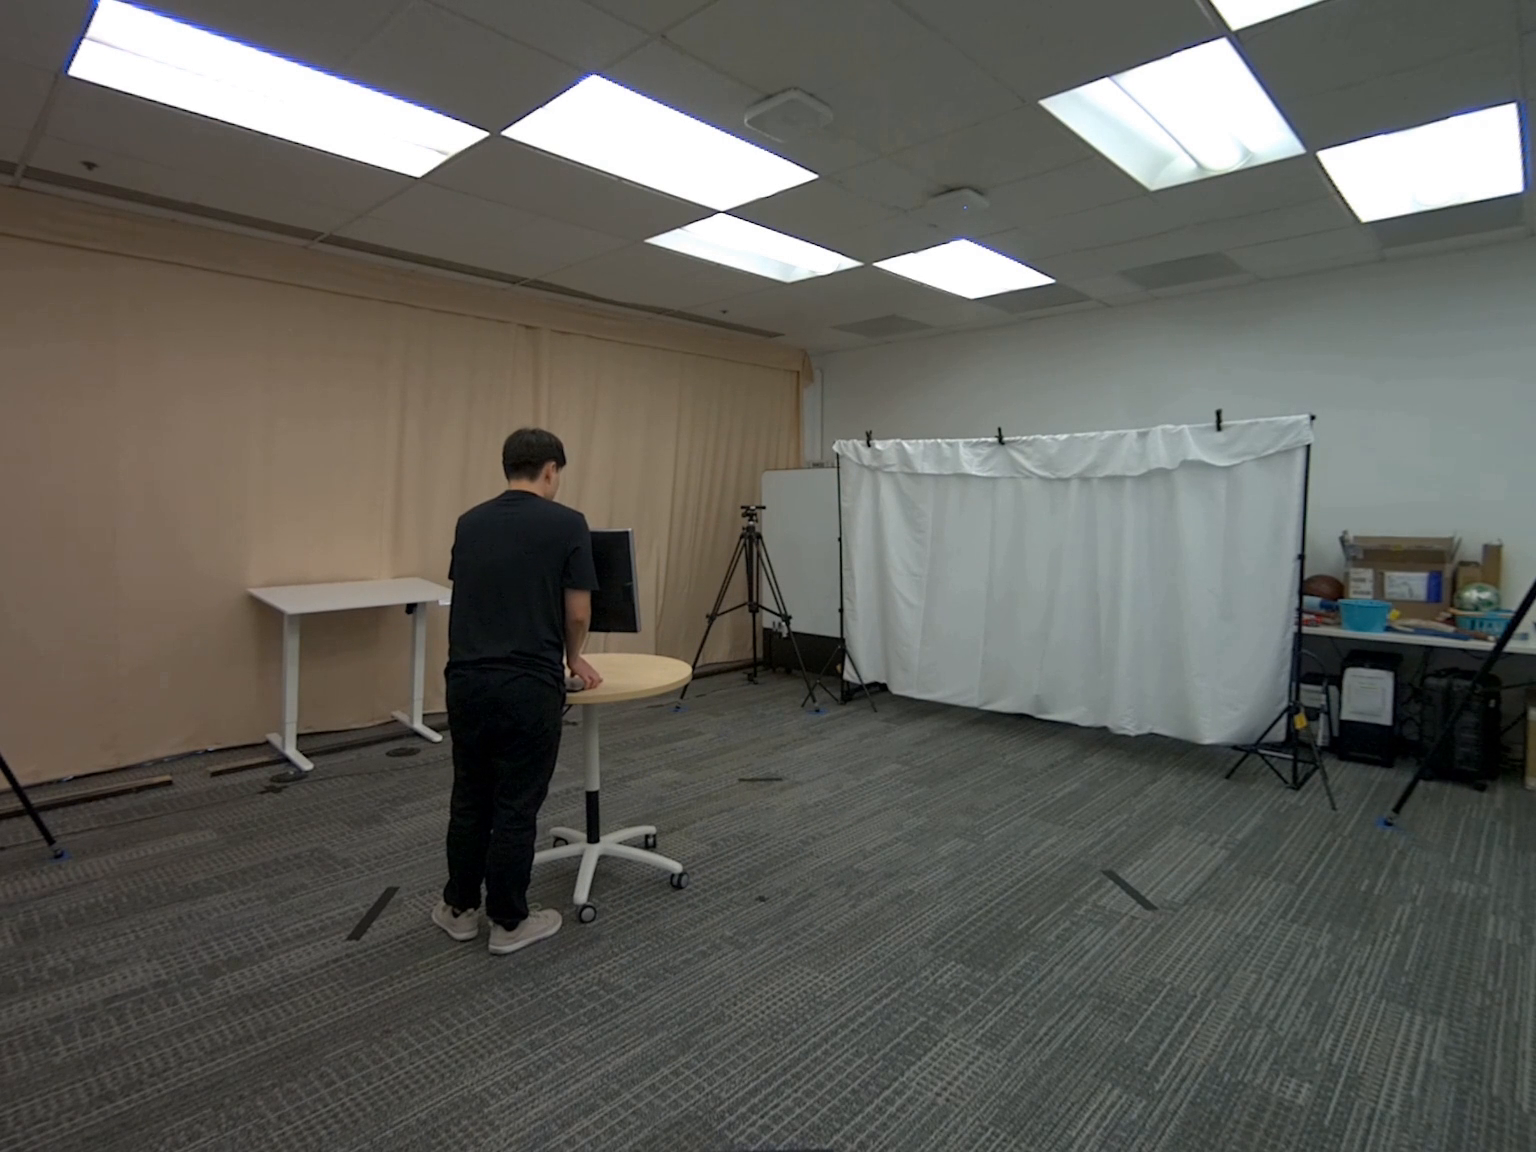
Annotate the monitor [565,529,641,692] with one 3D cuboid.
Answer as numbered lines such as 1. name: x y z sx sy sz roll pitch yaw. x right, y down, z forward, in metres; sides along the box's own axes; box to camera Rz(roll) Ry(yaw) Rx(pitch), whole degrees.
1. monitor: -0.721 0.106 2.898 0.548 0.522 0.184 0 1 16
